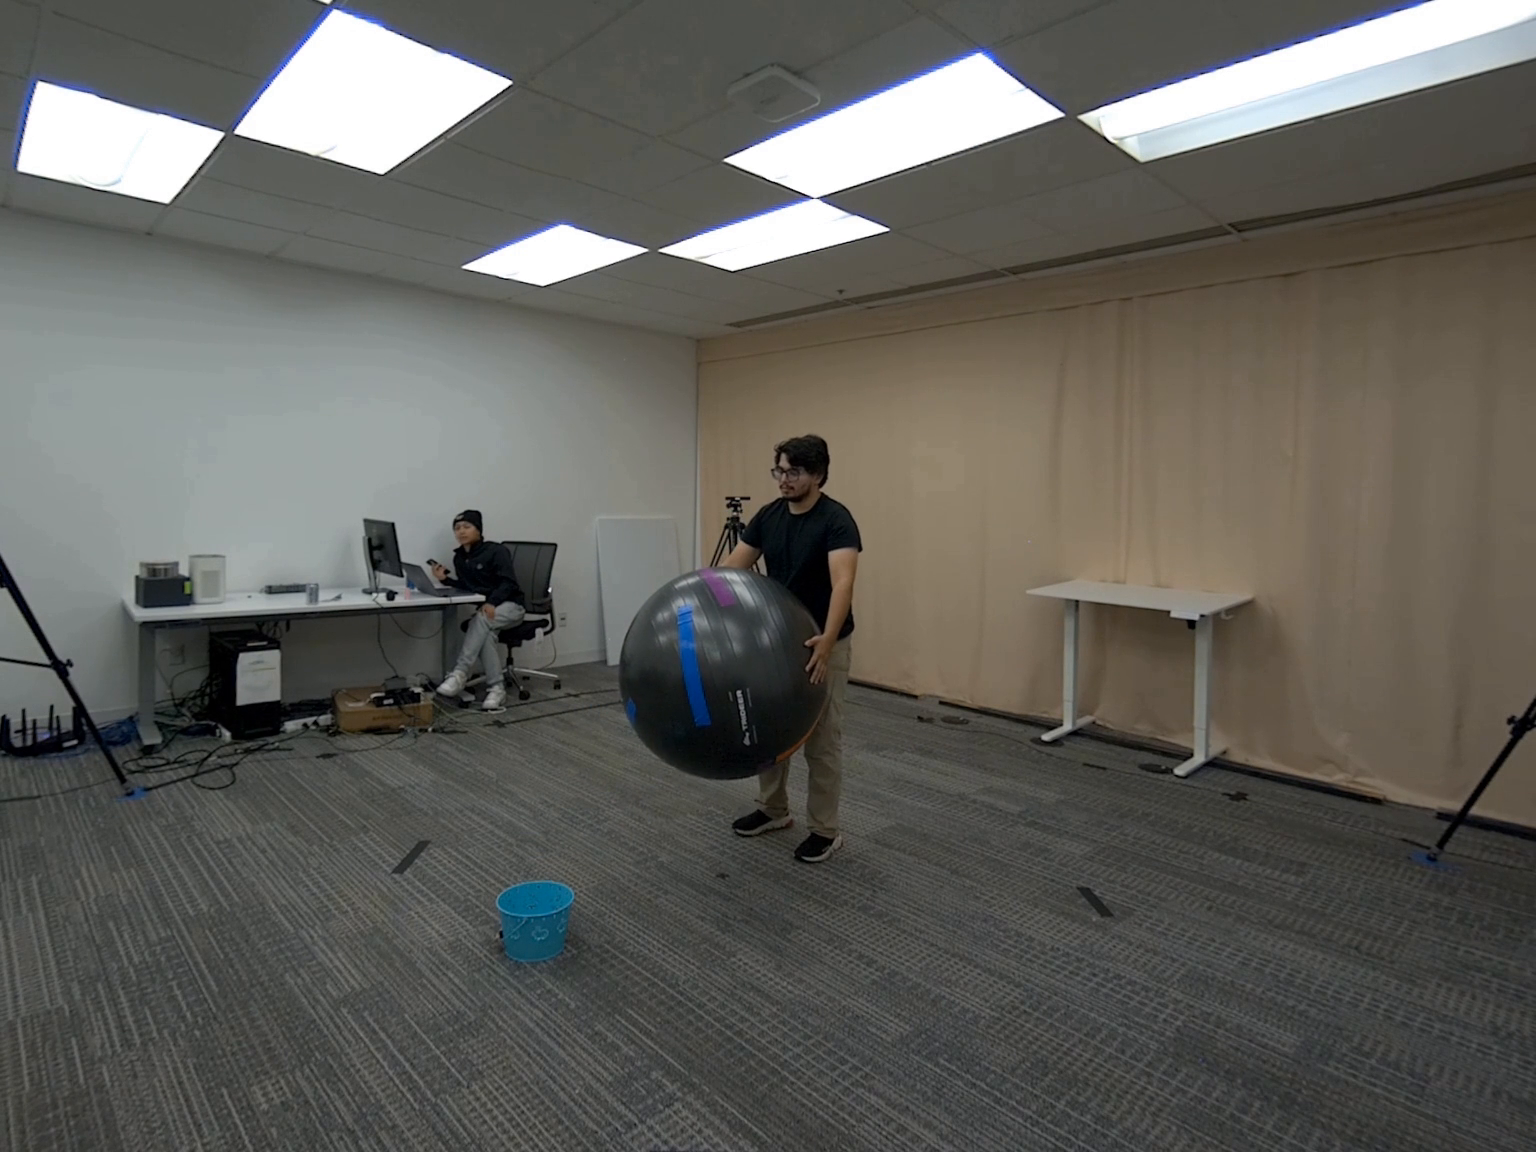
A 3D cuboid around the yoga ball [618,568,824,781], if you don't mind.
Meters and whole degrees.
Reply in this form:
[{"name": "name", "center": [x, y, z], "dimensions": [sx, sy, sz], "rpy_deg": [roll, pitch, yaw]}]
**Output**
[{"name": "yoga ball", "center": [-0.167, 0.356, 3.050], "dimensions": [0.757, 0.756, 0.761], "rpy_deg": [1, 4, -1]}]
